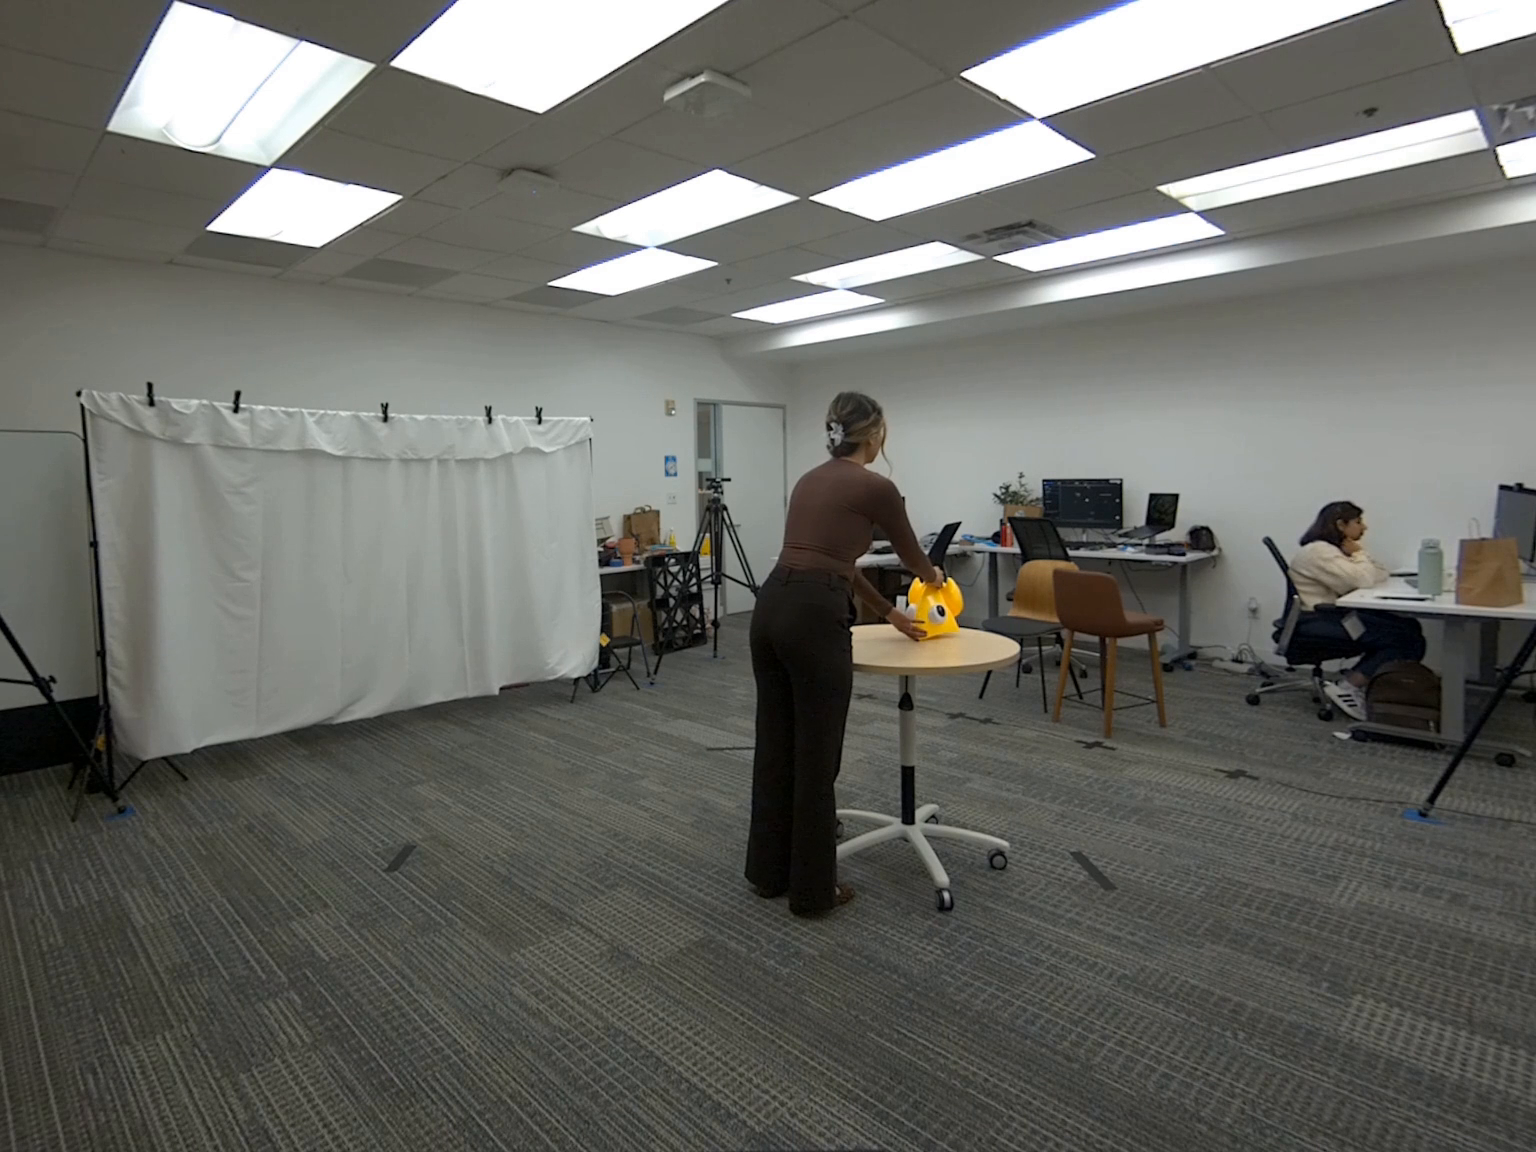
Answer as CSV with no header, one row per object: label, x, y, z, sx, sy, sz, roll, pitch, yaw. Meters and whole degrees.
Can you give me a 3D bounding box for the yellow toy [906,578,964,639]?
yellow toy,0.588,0.134,3.165,0.210,0.190,0.228,-1,20,34
